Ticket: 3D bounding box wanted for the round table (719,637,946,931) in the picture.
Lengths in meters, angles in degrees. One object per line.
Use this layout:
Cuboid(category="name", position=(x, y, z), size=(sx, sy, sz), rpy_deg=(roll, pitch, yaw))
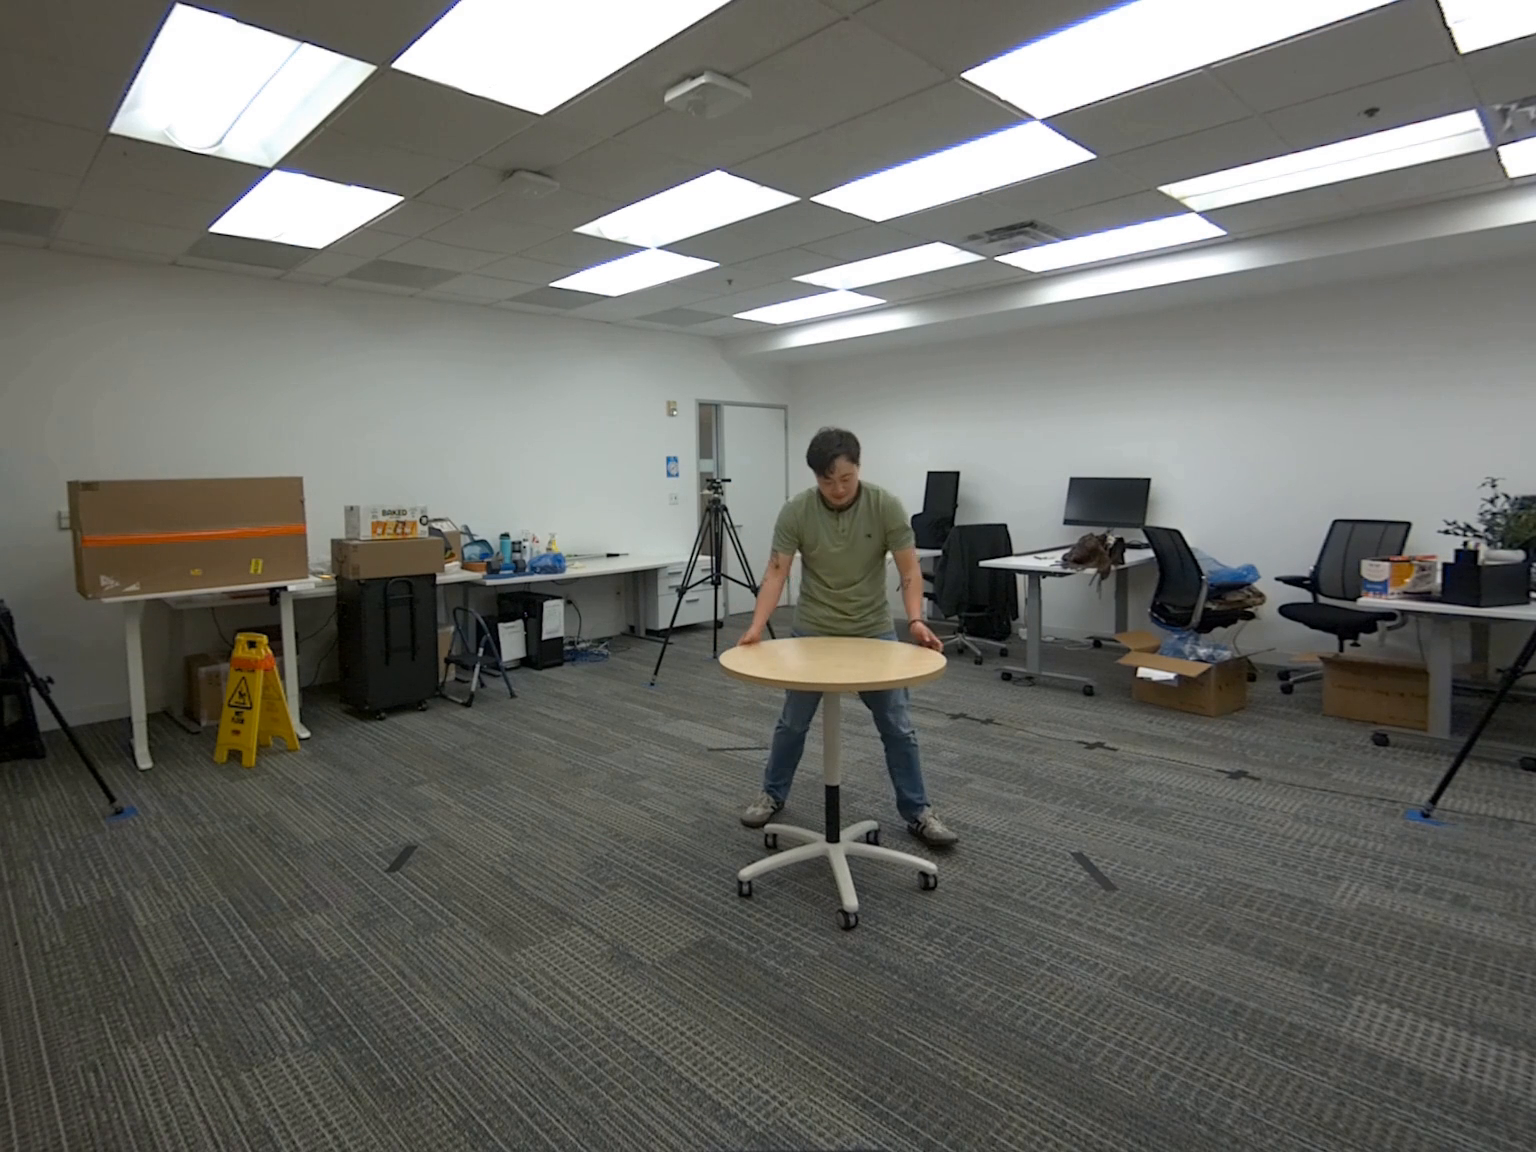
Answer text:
Cuboid(category="round table", position=(0.217, 0.672, 2.940), size=(0.763, 0.791, 0.768), rpy_deg=(-1, 5, -2))
